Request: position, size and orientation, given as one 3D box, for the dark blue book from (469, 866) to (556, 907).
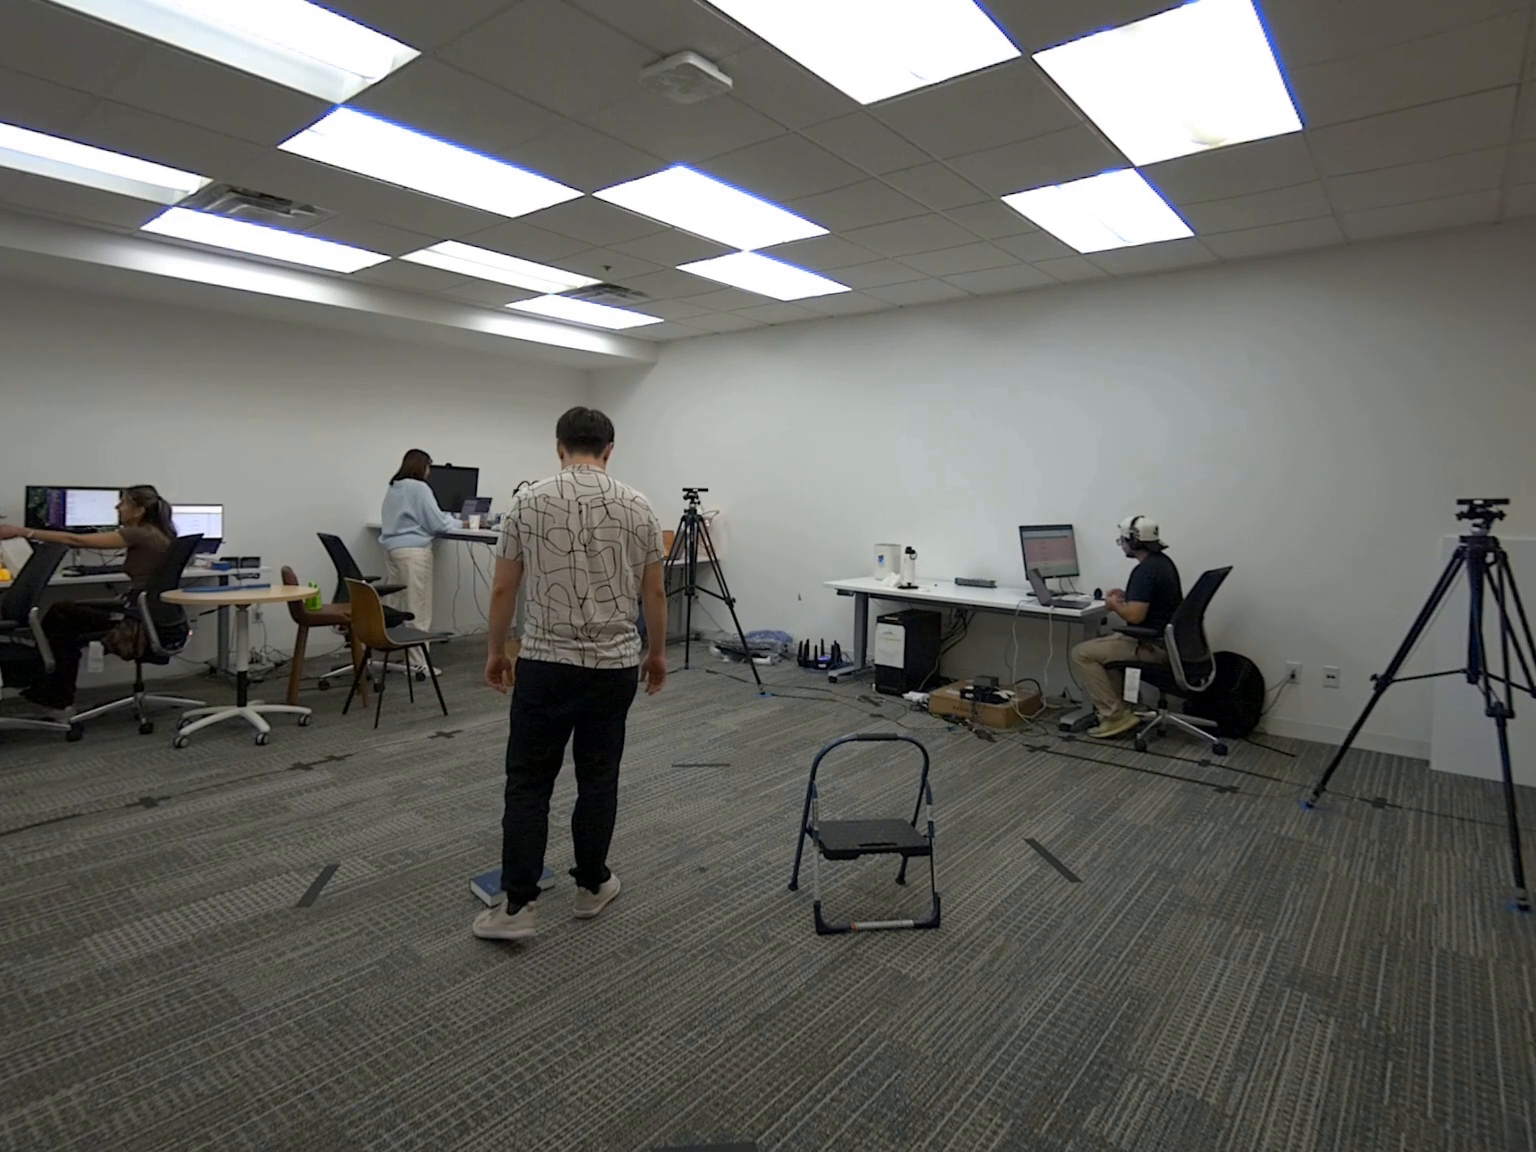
[{"bbox_3d":[-0.890,1.055,2.930,0.238,0.045,0.169,-4,8,-42],"label":"dark blue book"}]
